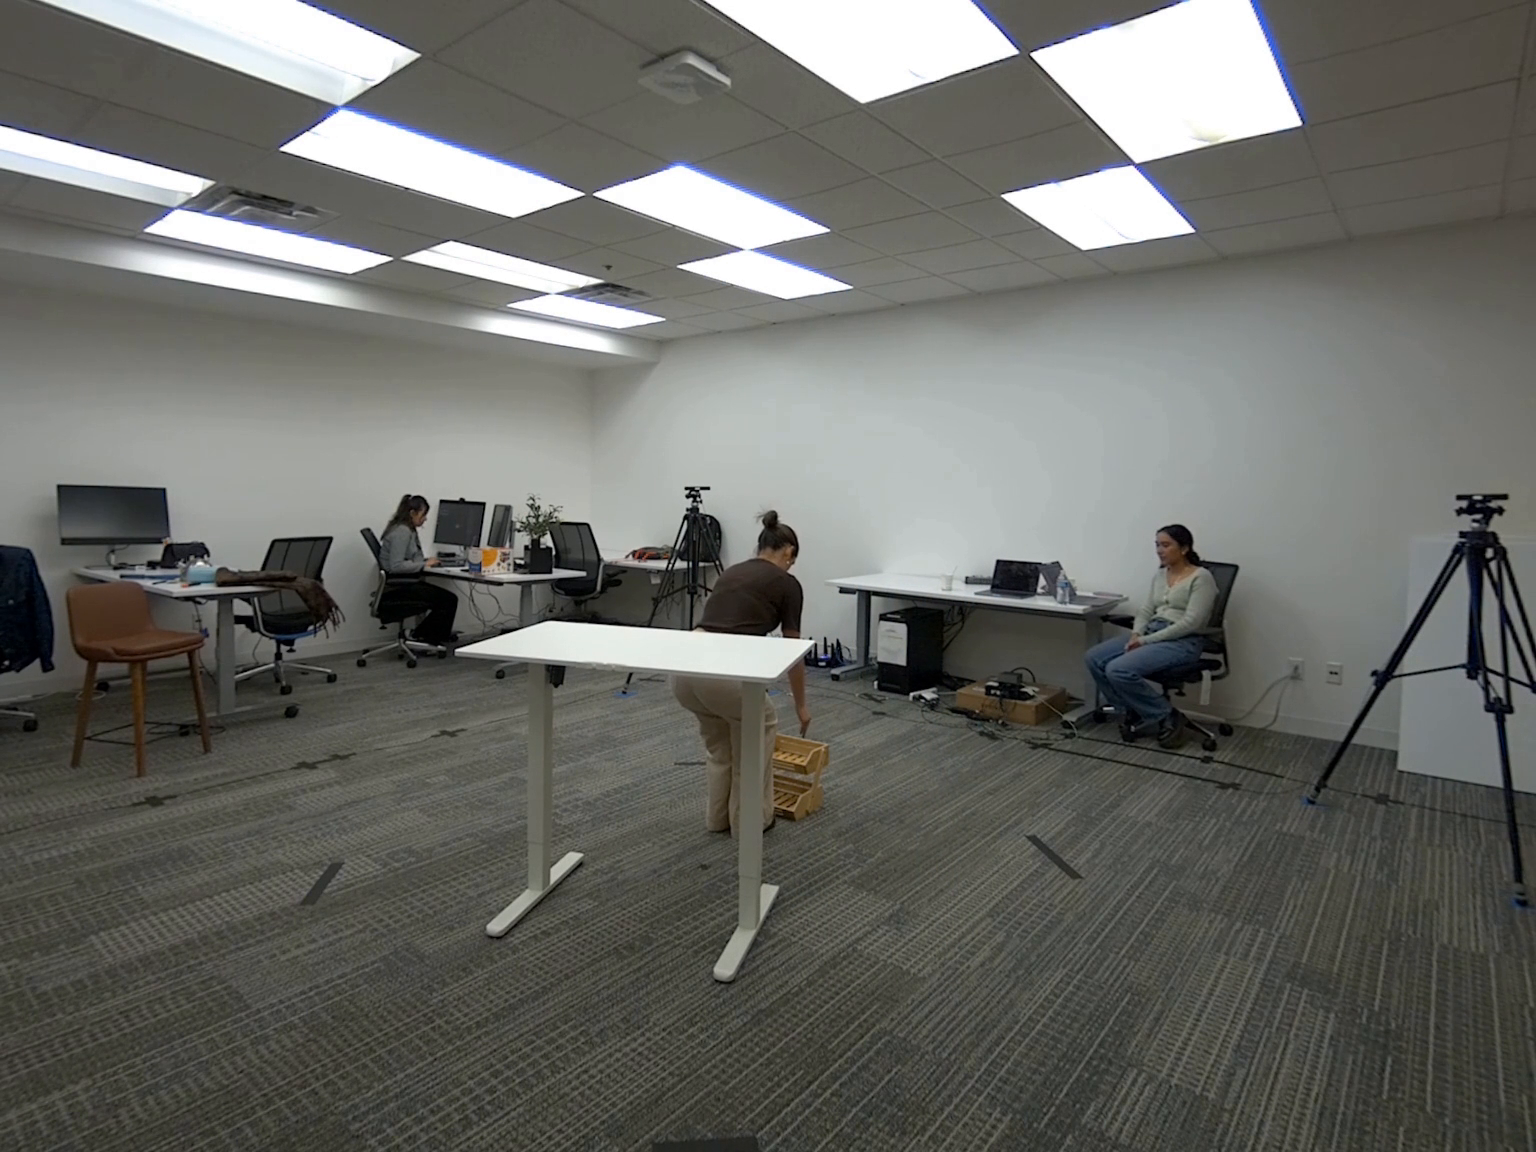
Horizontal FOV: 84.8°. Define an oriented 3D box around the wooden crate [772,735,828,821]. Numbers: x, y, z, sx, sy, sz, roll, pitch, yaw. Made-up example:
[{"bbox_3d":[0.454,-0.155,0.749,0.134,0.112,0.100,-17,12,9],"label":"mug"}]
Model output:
[{"bbox_3d":[0.052,0.868,3.749,0.335,0.272,0.293,4,4,33],"label":"wooden crate"}]
